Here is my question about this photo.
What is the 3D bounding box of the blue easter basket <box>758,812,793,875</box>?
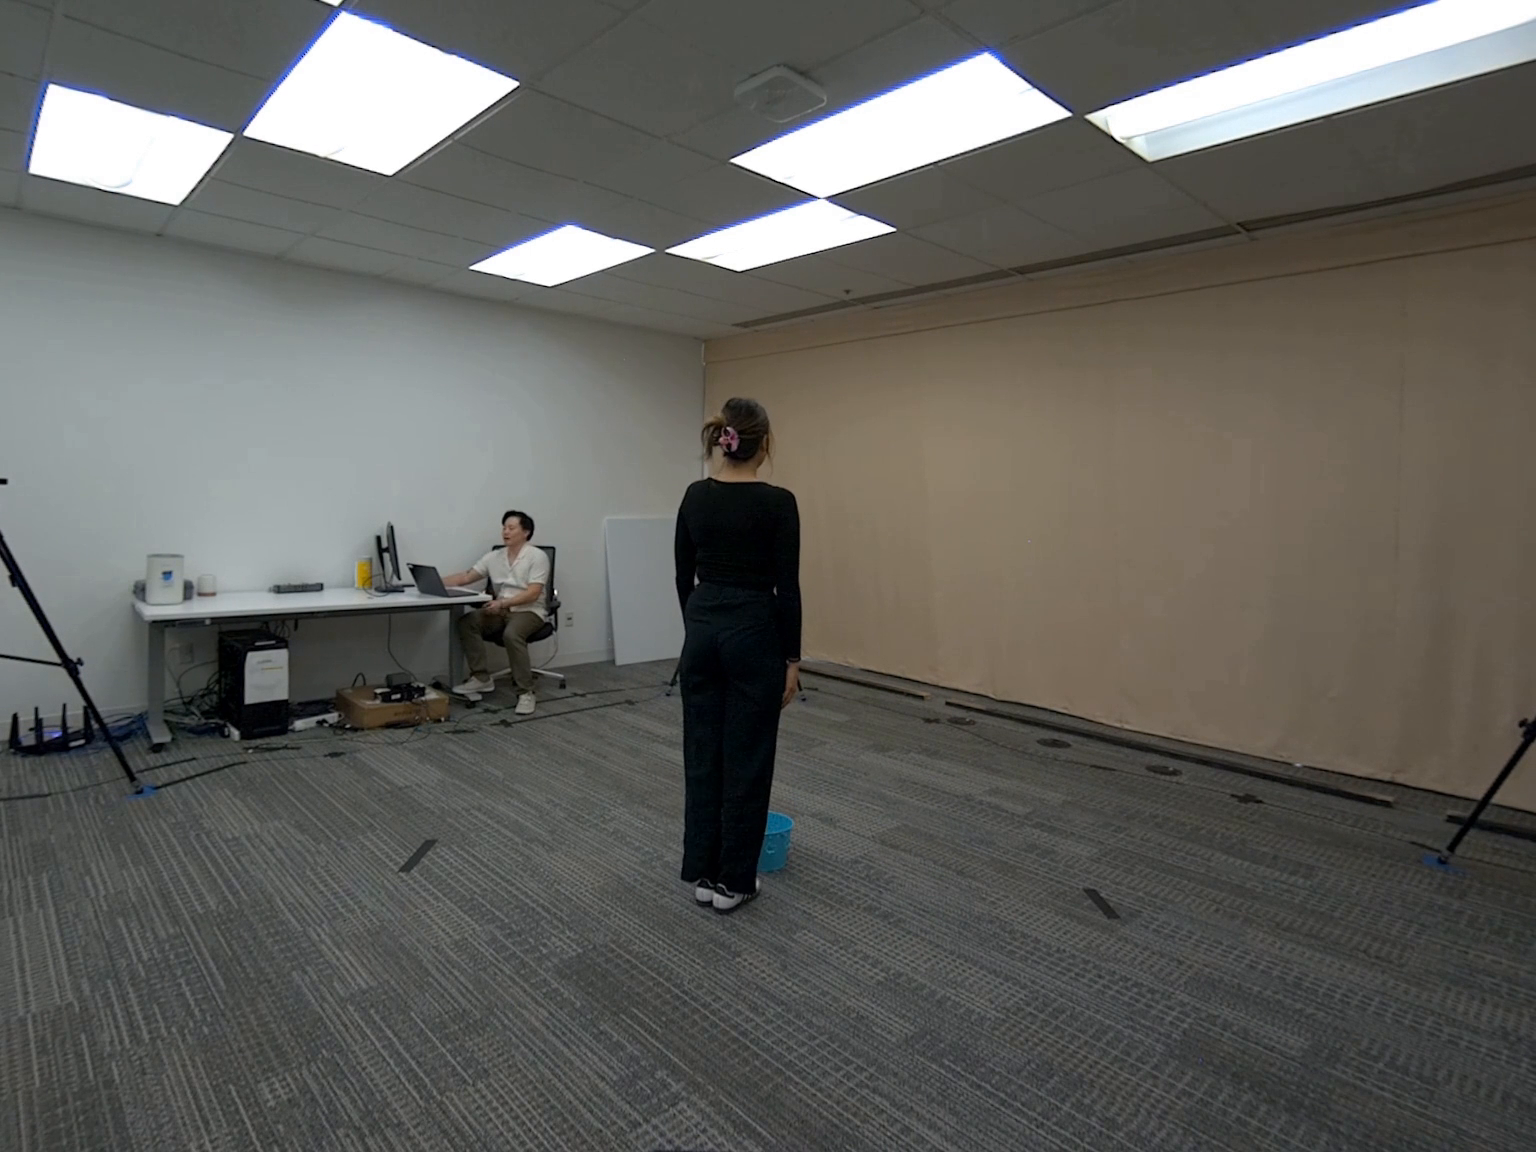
[{"bbox_3d":[-0.020,1.021,3.240,0.243,0.155,0.244,1,4,-1],"label":"blue easter basket"}]
